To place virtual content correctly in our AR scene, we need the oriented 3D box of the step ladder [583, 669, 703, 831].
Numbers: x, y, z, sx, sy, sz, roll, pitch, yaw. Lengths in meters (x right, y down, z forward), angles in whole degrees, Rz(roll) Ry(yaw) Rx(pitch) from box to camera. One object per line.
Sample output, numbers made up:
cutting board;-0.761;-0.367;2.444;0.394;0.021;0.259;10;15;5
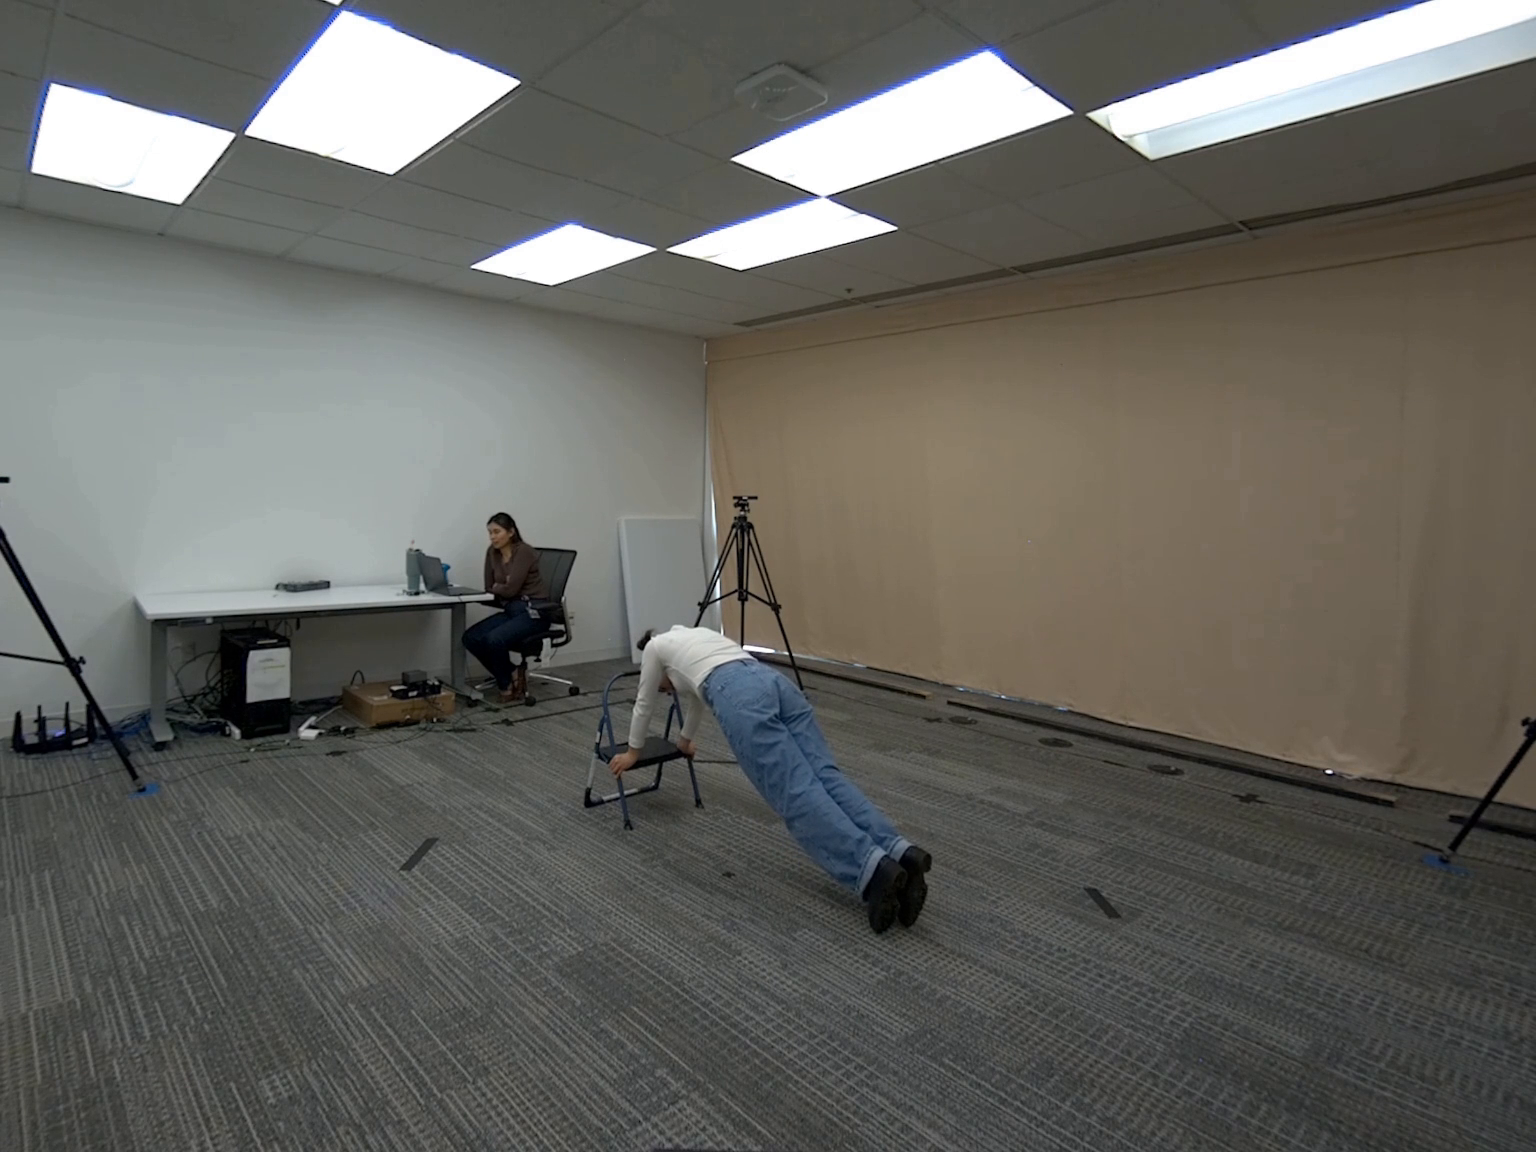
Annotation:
step ladder;-0.557;0.736;3.754;0.358;0.605;0.421;5;5;45
